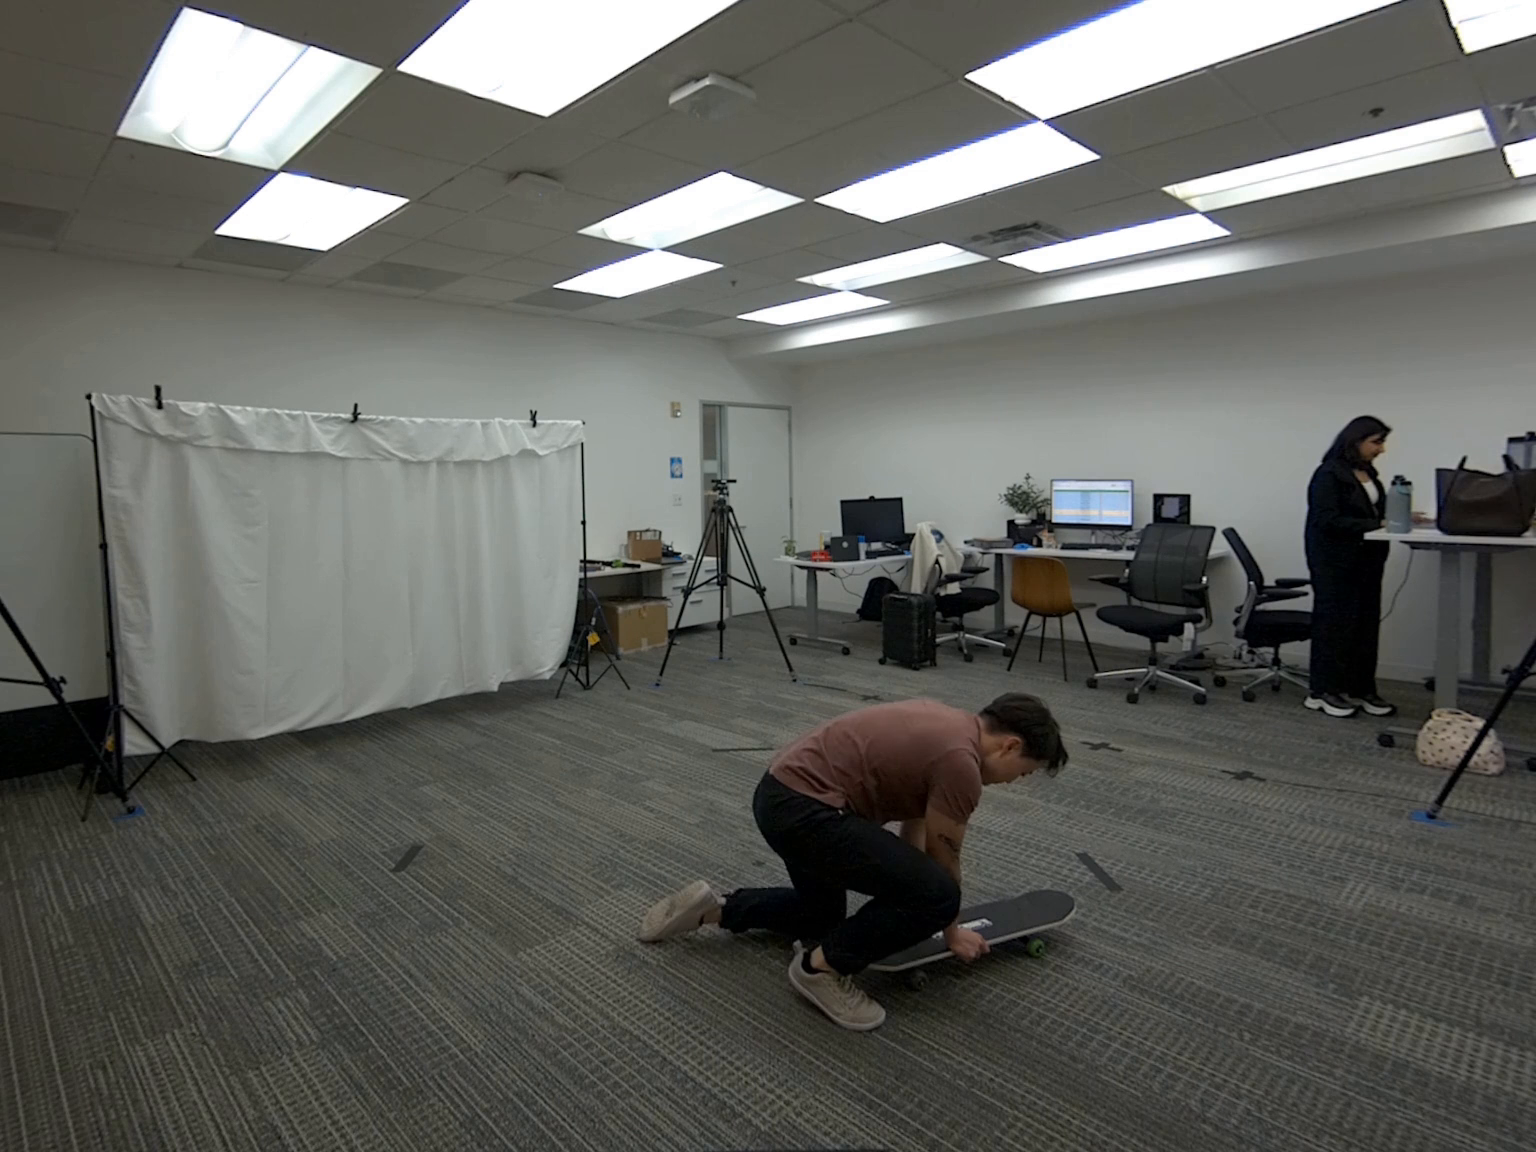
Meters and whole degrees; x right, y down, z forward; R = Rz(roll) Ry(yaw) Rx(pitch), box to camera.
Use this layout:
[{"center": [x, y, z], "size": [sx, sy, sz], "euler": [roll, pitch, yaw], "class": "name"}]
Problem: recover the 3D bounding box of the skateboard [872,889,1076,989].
[{"center": [0.564, 1.053, 2.476], "size": [0.771, 0.110, 0.197], "euler": [-4, 3, -21], "class": "skateboard"}]
